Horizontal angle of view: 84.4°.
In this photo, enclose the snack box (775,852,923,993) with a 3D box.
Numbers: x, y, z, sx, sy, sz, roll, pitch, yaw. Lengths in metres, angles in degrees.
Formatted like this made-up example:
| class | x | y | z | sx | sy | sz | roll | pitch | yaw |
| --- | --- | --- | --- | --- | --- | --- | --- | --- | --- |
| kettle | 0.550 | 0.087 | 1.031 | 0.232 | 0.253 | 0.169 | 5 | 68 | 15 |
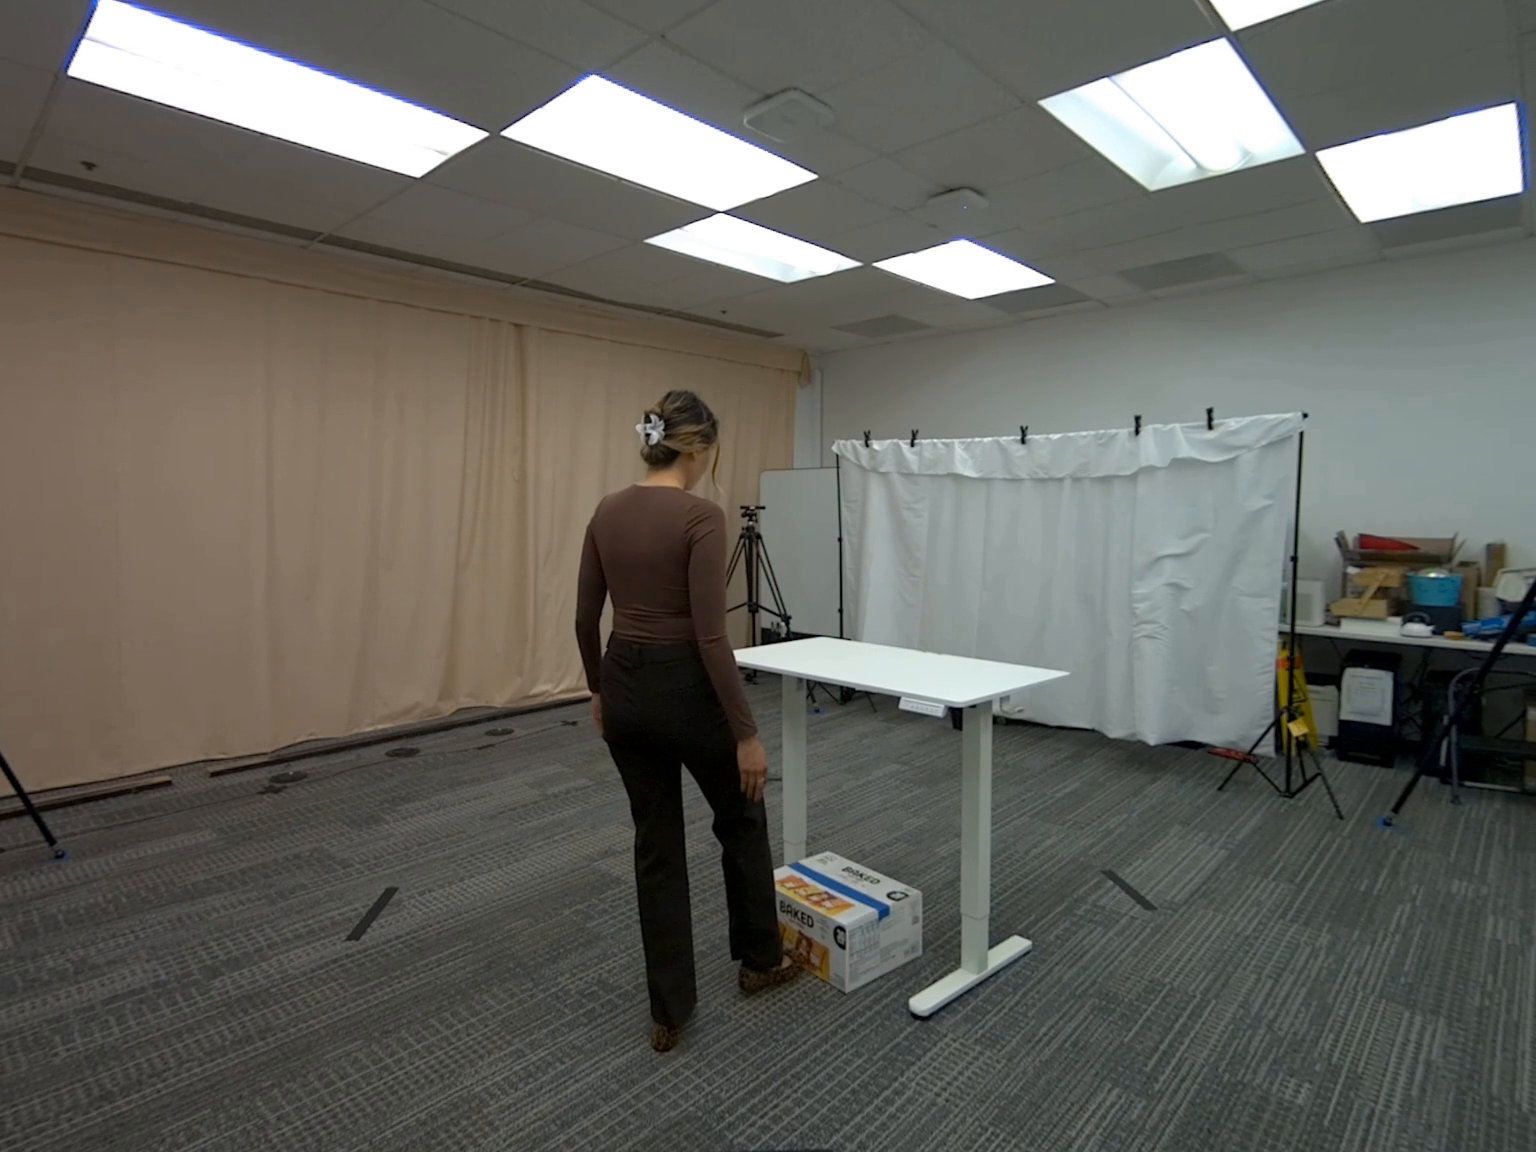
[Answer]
| class | x | y | z | sx | sy | sz | roll | pitch | yaw |
| --- | --- | --- | --- | --- | --- | --- | --- | --- | --- |
| snack box | 0.221 | 1.072 | 2.645 | 0.330 | 0.205 | 0.418 | -4 | 5 | -40 |
